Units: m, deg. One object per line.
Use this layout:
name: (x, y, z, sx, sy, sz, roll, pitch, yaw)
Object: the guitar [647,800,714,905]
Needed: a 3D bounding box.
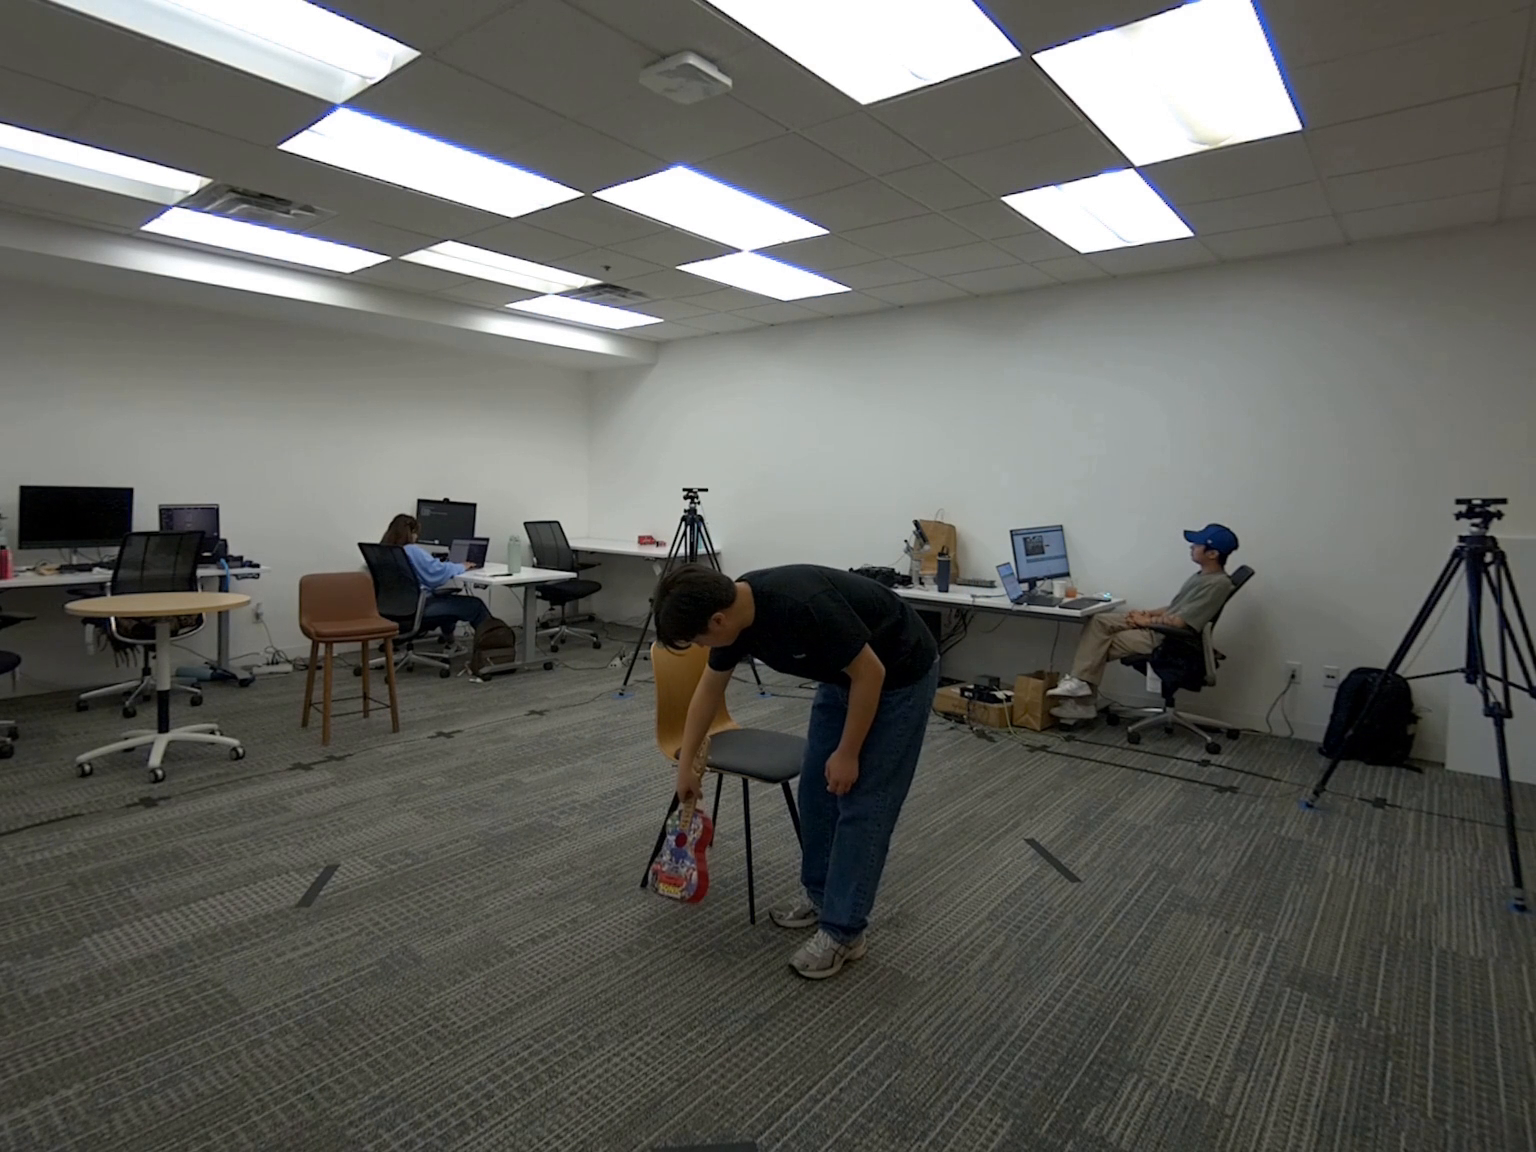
guitar: (-0.229, 0.763, 2.654, 0.200, 0.502, 0.068, 6, -19, 39)
